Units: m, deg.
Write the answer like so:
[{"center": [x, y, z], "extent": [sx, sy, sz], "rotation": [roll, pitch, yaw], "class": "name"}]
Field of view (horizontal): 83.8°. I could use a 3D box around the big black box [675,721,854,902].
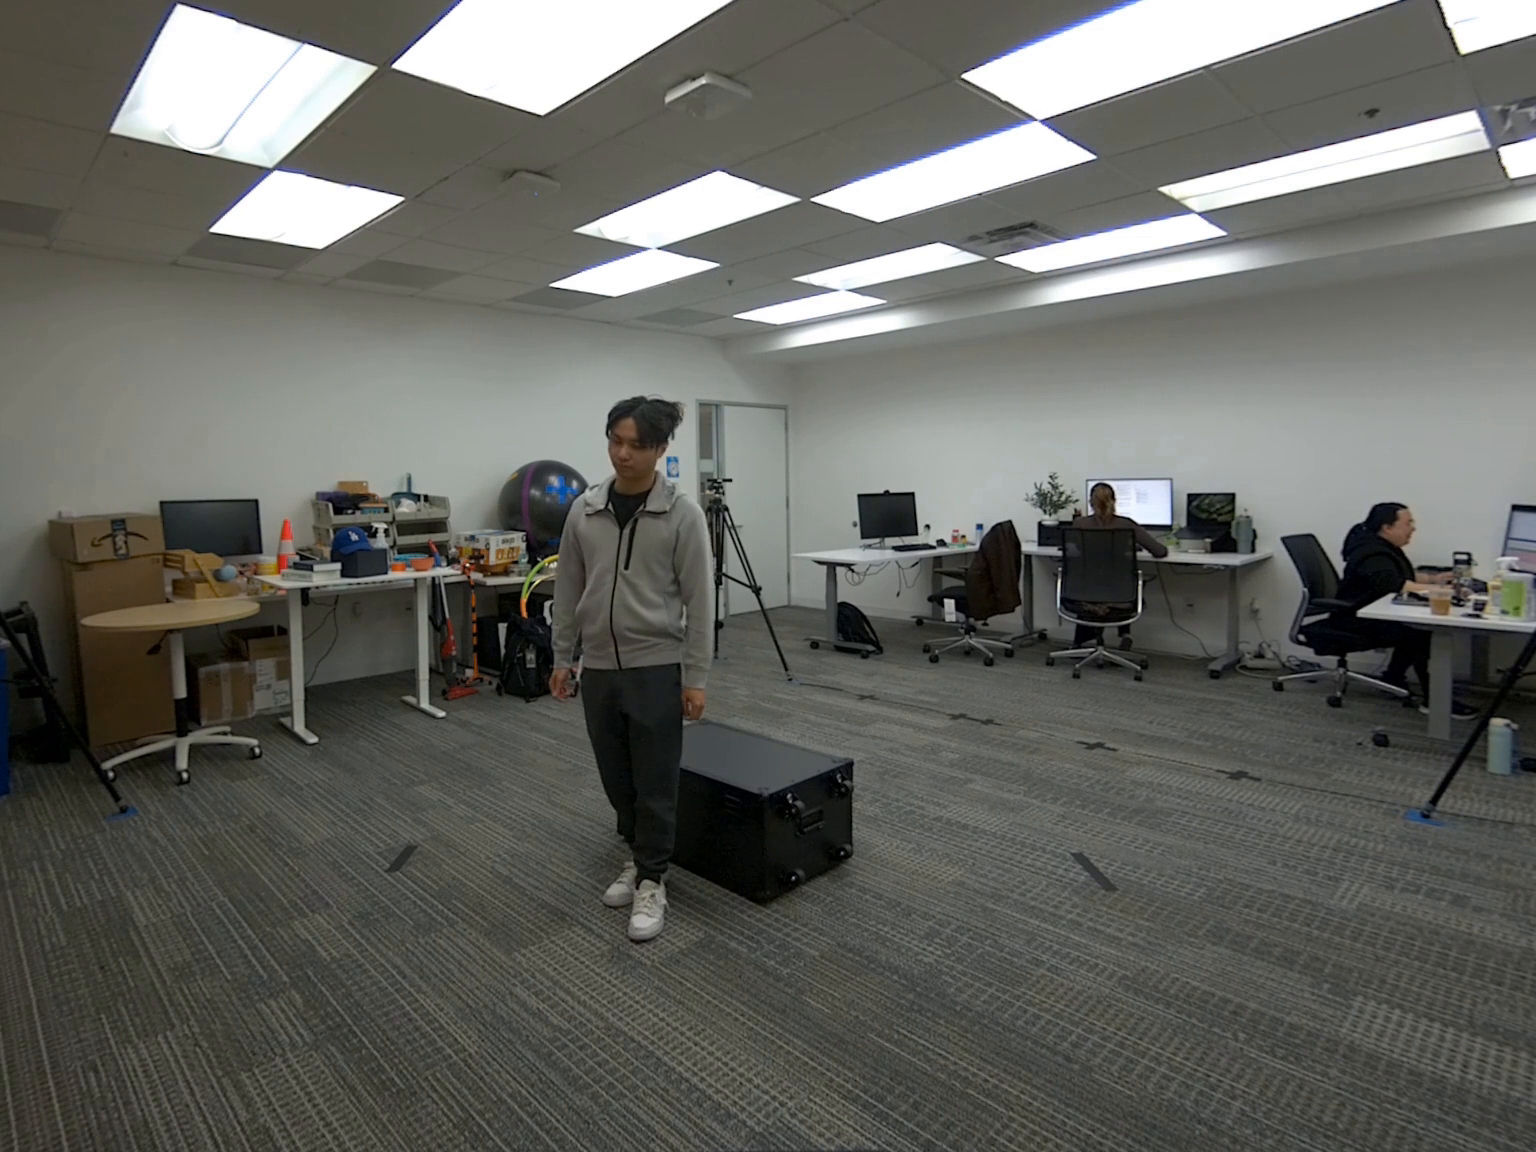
[{"center": [-0.115, 0.847, 3.190], "extent": [0.888, 0.394, 0.508], "rotation": [4, 8, 43], "class": "big black box"}]
